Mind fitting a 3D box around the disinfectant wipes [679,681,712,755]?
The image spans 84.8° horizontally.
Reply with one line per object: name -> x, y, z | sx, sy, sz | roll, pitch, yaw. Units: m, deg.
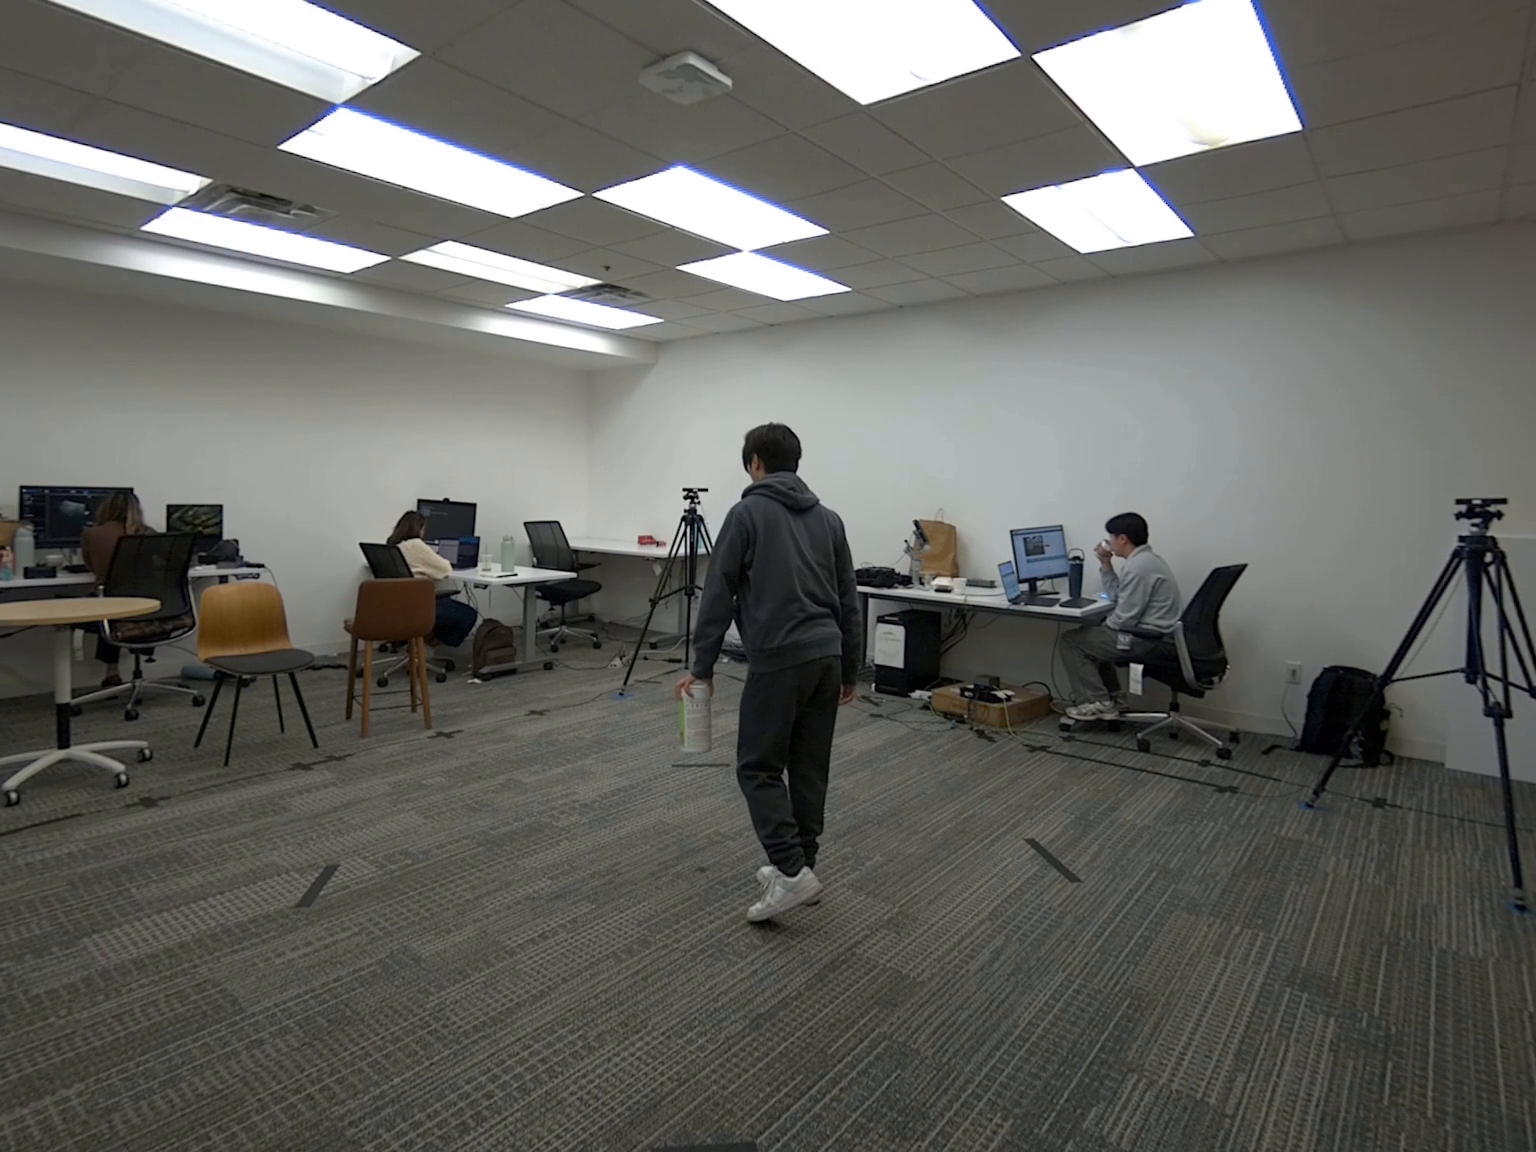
disinfectant wipes -> -0.253, 0.490, 2.905 | 0.118, 0.218, 0.117 | -1, -4, -2
